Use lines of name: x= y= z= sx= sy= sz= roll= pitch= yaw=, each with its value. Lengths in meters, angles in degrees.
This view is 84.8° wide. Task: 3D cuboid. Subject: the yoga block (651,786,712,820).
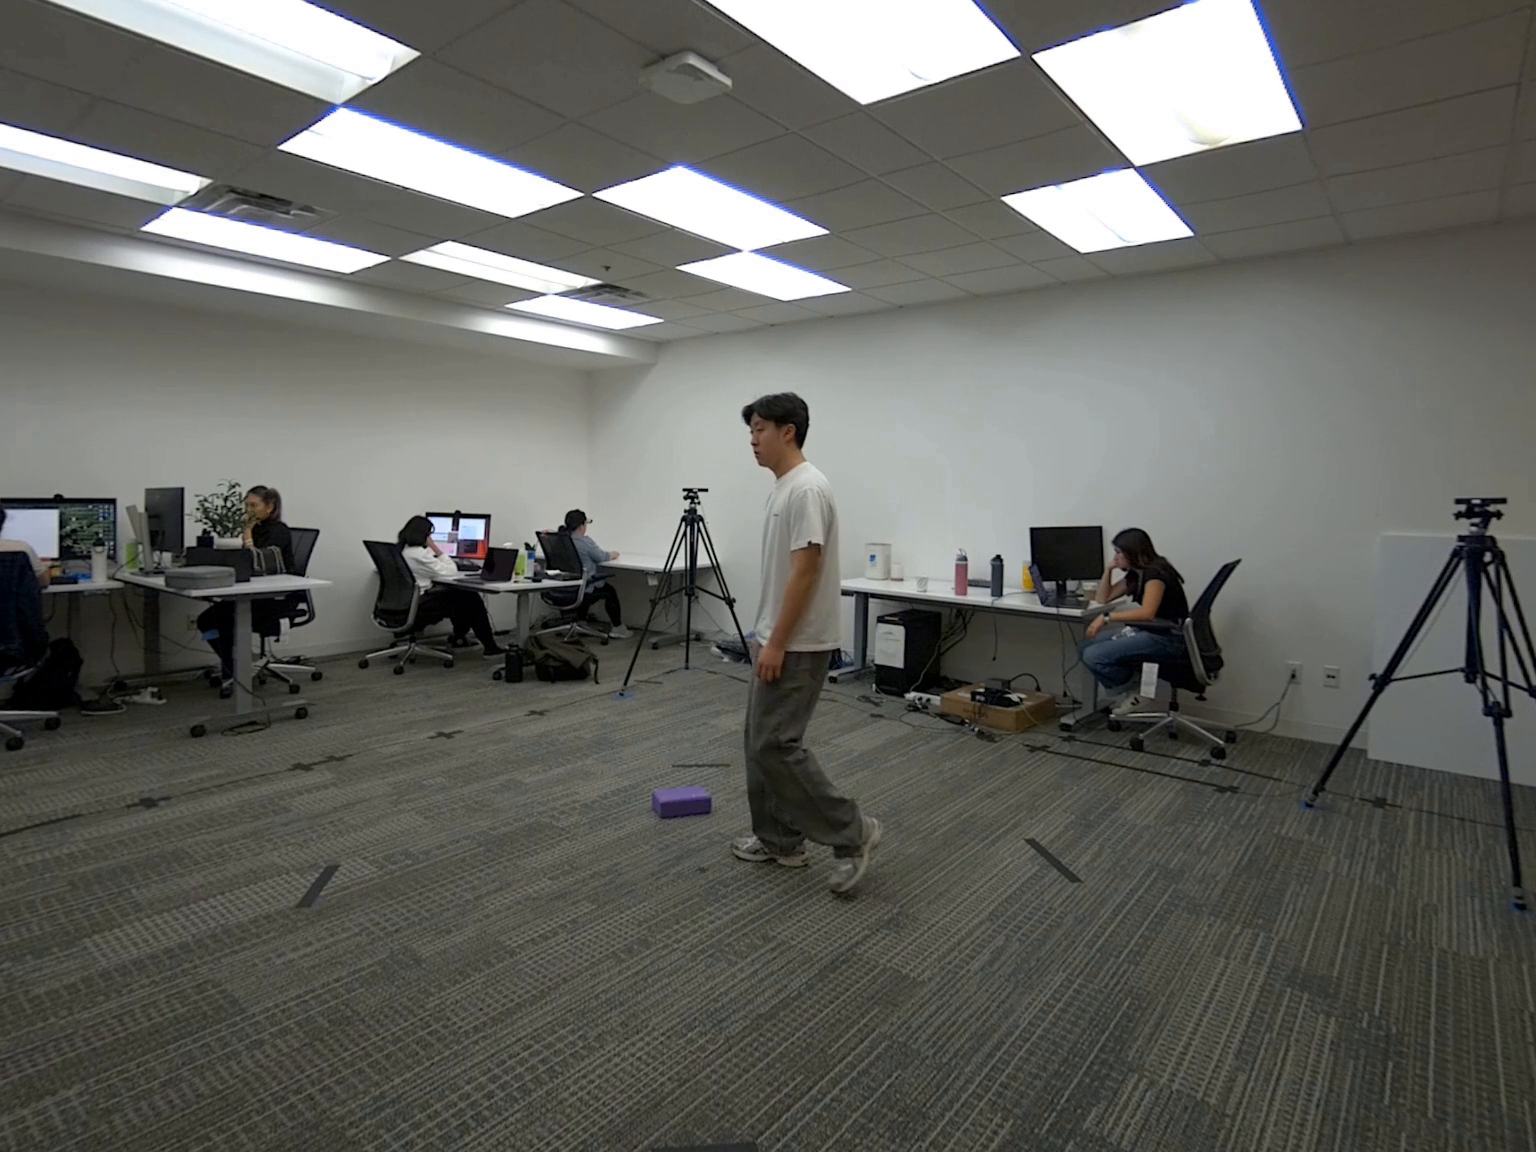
yoga block: x=-0.372 y=0.966 z=3.684 sx=0.225 sy=0.076 sz=0.153 roll=-2 pitch=6 yaw=-20
